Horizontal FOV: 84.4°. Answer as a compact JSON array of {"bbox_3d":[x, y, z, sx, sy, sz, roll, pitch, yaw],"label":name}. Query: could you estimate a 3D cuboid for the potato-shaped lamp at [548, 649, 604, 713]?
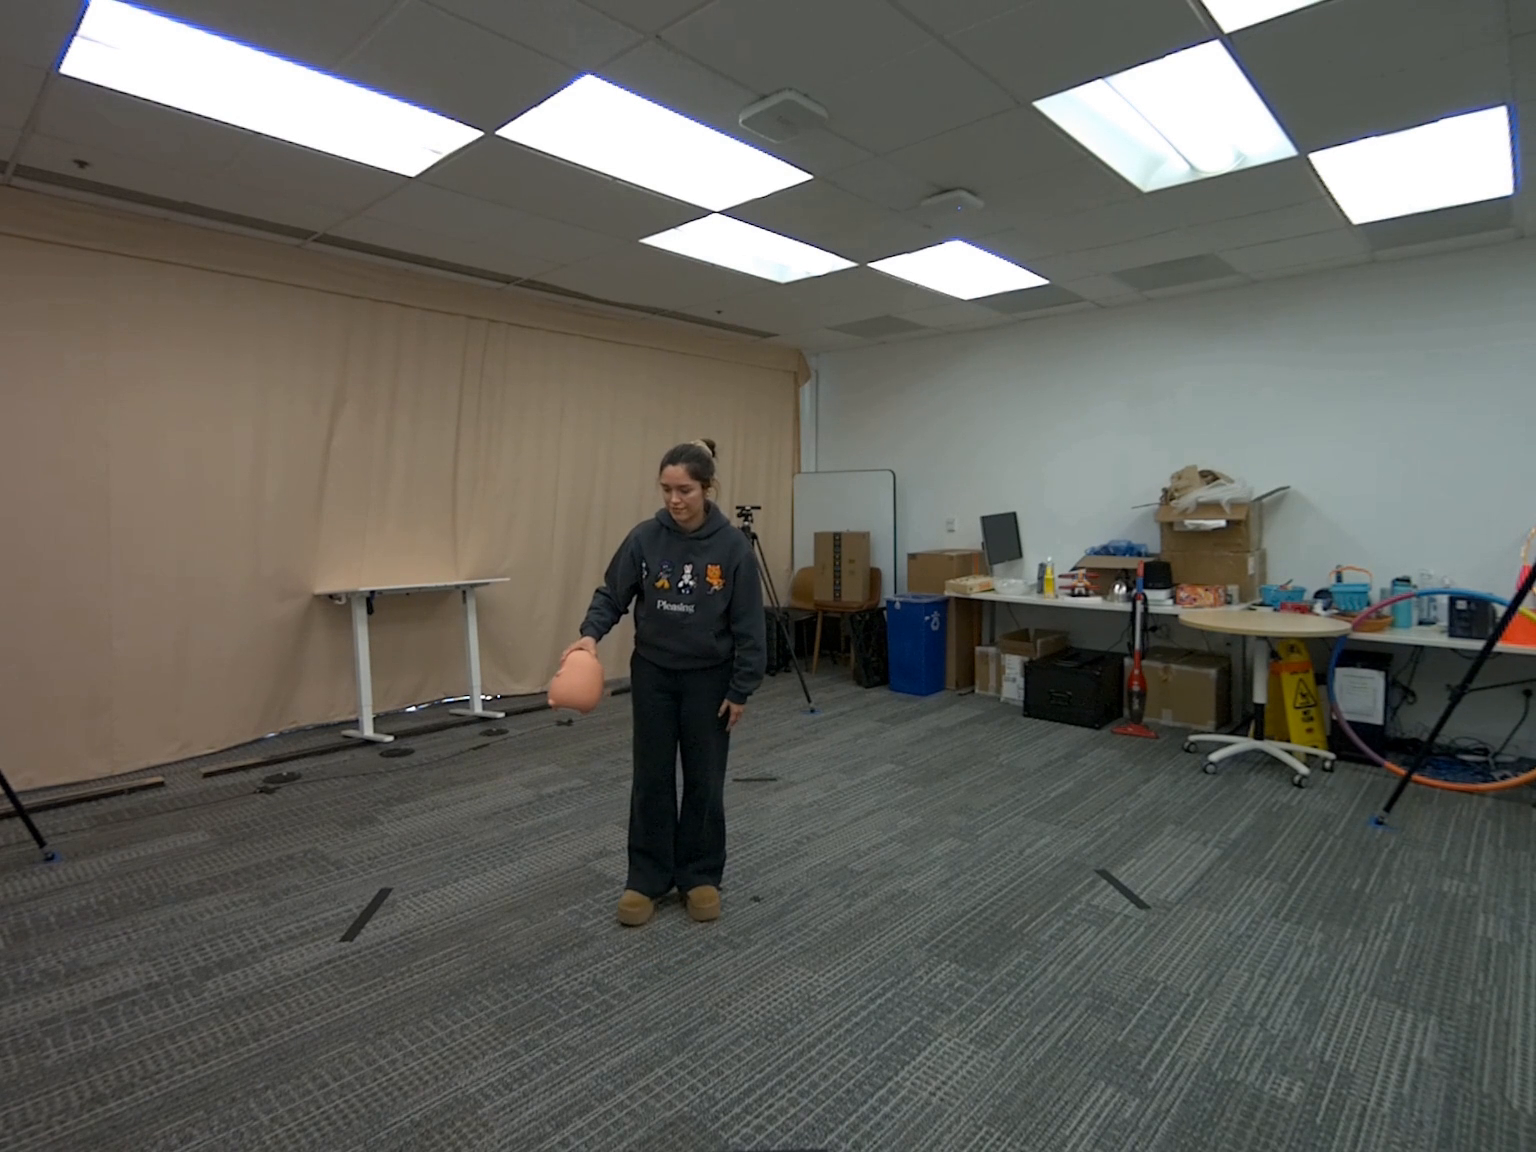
[{"bbox_3d":[-0.598,0.345,2.700,0.172,0.199,0.163,8,-15,2],"label":"potato-shaped lamp"}]
